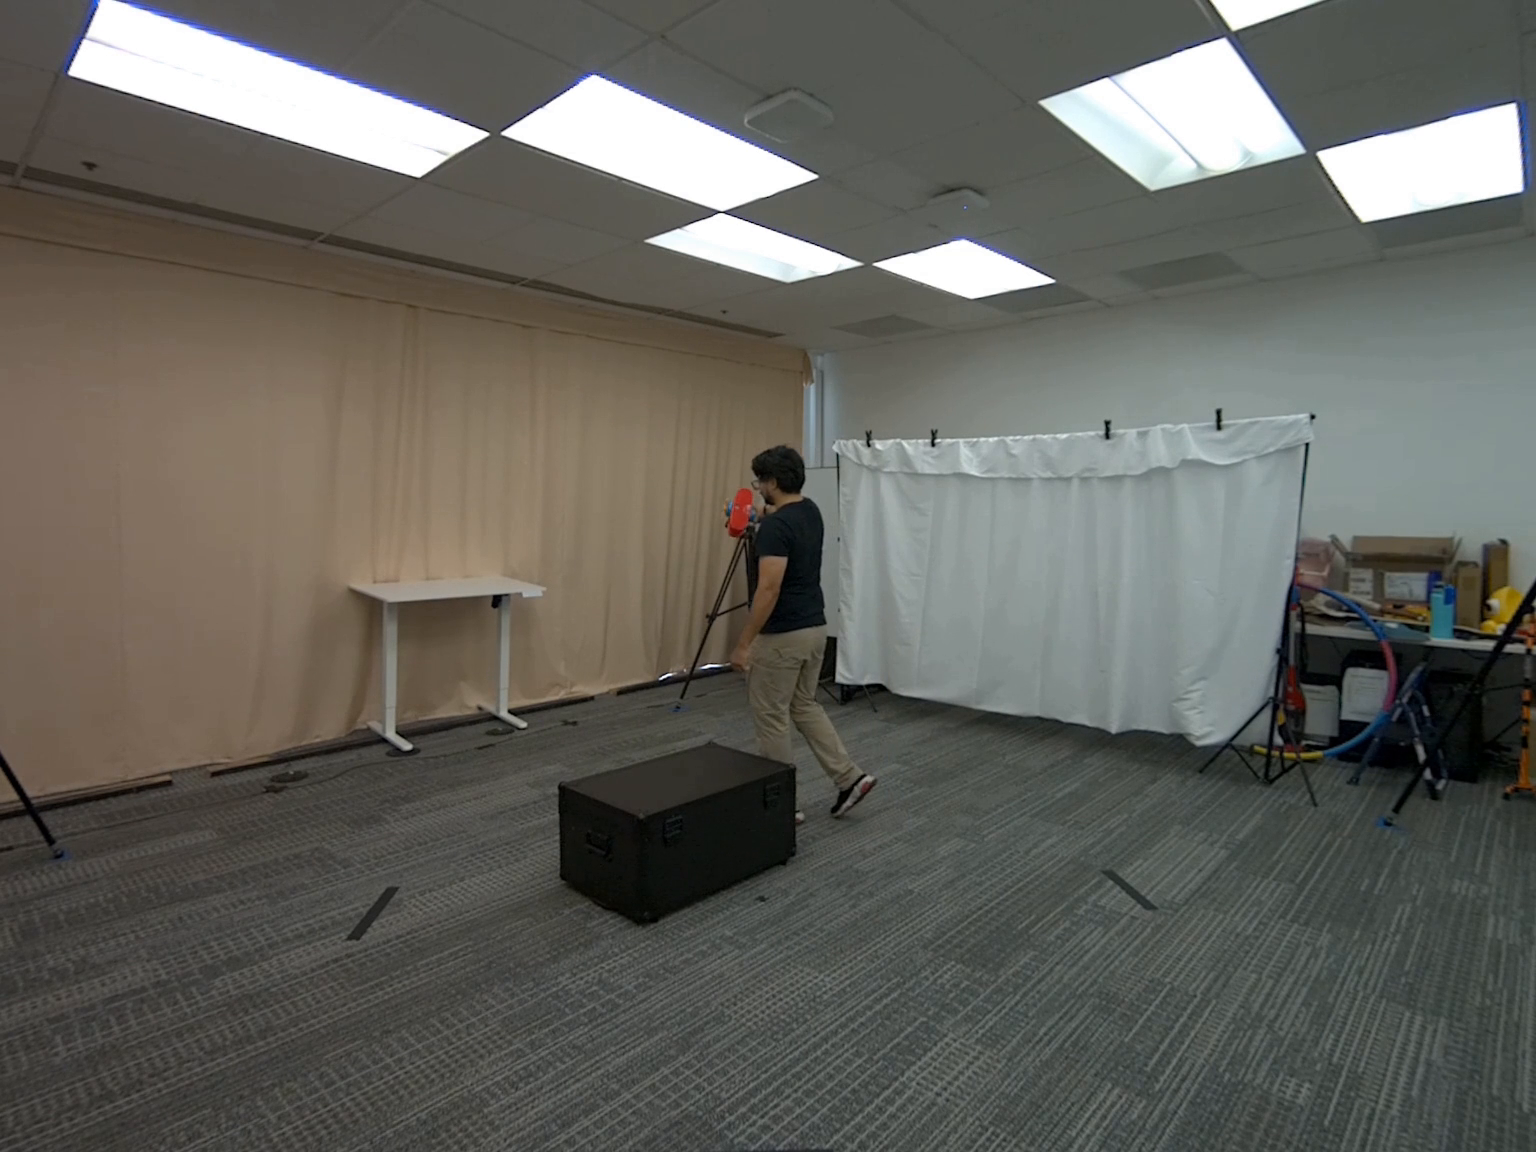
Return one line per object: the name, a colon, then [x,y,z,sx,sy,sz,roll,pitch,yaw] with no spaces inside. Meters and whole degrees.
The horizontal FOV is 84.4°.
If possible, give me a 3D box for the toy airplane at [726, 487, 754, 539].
toy airplane: [-0.103,-0.327,4.382,0.258,0.257,0.153,-18,-27,-7]
